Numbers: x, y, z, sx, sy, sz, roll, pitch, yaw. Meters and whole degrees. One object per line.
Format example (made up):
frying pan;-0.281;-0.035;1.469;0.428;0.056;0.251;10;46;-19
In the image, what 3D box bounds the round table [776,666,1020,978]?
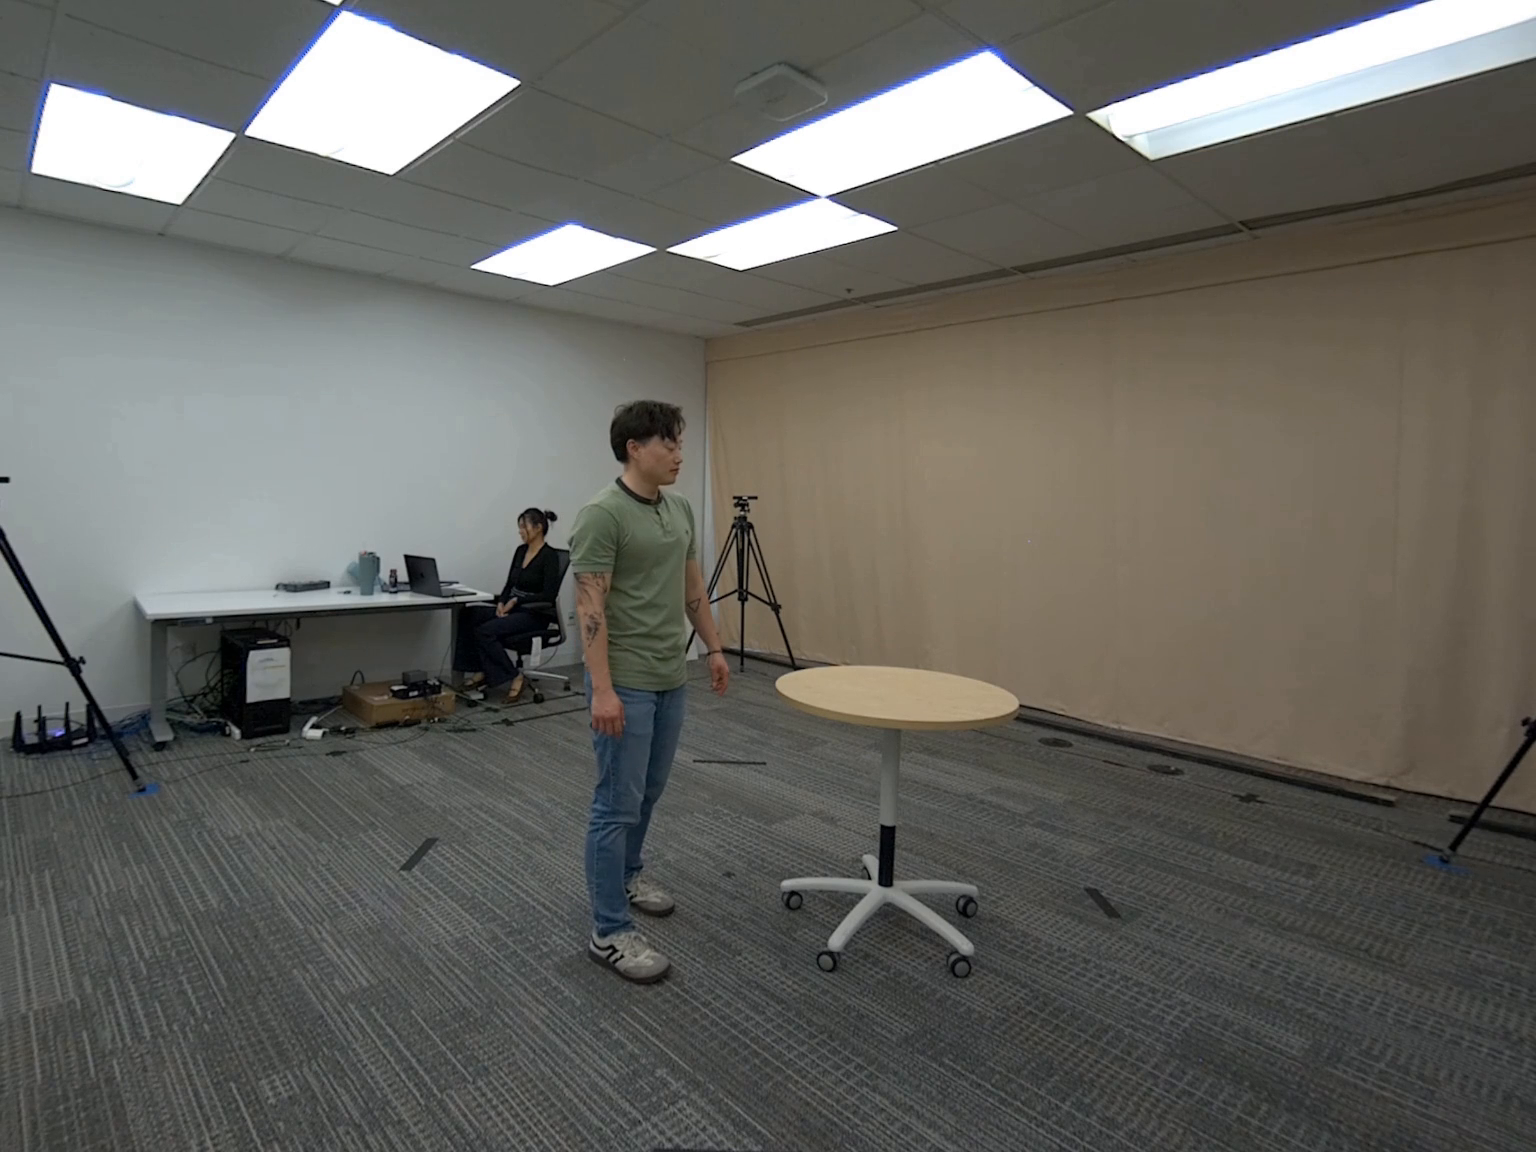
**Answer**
round table;0.381;0.759;2.741;0.763;0.792;0.767;2;4;-2
